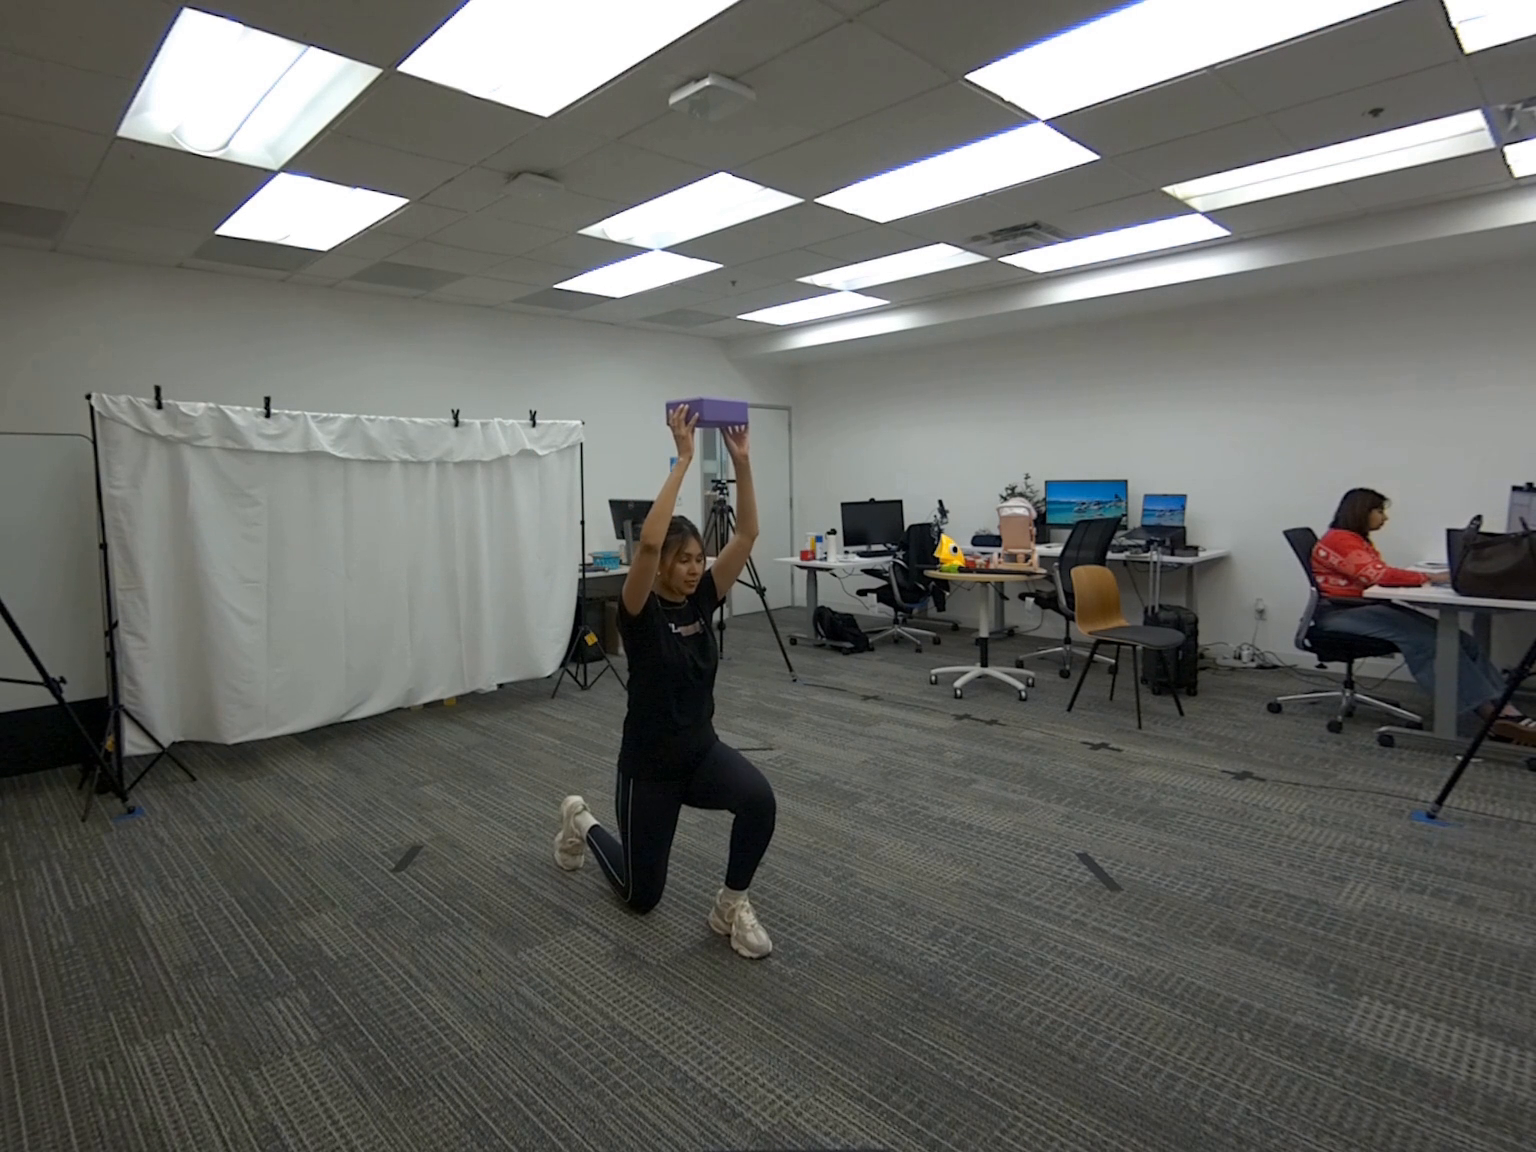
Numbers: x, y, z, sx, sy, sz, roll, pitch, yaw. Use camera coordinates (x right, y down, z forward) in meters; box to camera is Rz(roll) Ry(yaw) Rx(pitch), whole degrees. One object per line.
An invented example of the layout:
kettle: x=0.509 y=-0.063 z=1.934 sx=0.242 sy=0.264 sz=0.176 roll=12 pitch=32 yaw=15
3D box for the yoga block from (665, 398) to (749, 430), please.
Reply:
yoga block: x=-0.178 y=-0.500 z=2.578 sx=0.153 sy=0.076 sz=0.224 roll=1 pitch=6 yaw=37
